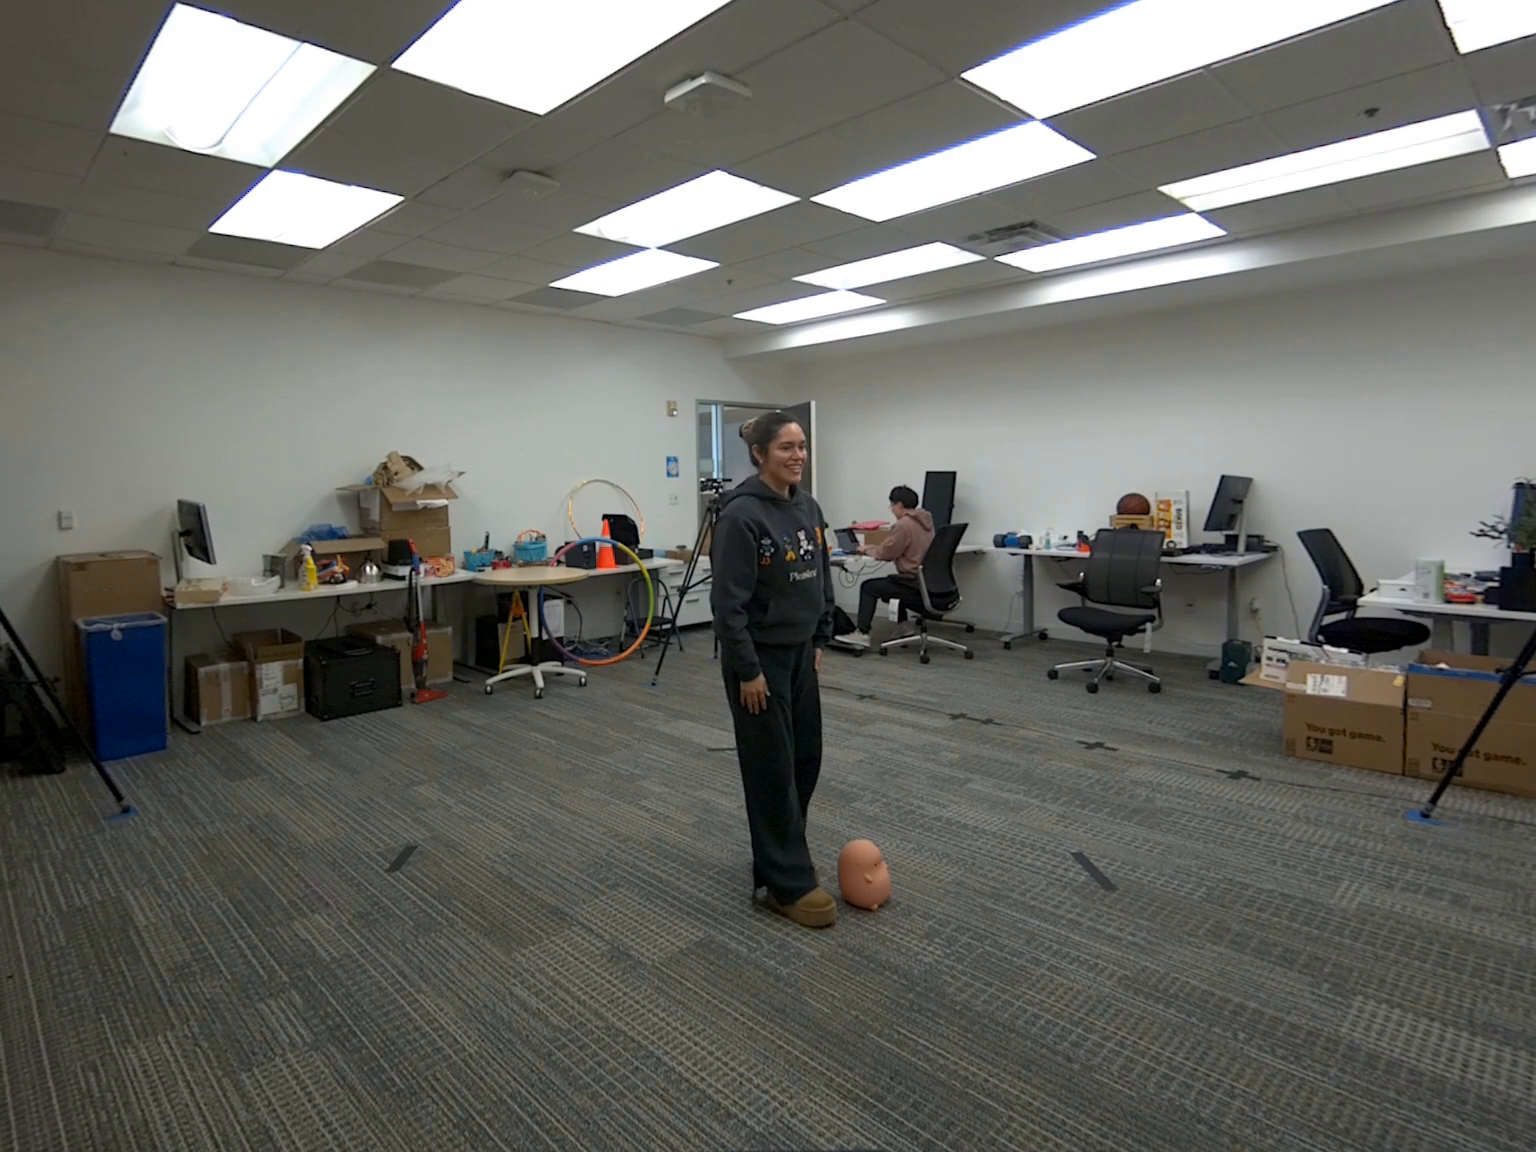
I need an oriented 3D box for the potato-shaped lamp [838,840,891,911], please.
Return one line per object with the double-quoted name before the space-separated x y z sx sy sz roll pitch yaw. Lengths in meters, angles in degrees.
"potato-shaped lamp" 0.311 0.966 2.797 0.176 0.197 0.160 2 5 37
